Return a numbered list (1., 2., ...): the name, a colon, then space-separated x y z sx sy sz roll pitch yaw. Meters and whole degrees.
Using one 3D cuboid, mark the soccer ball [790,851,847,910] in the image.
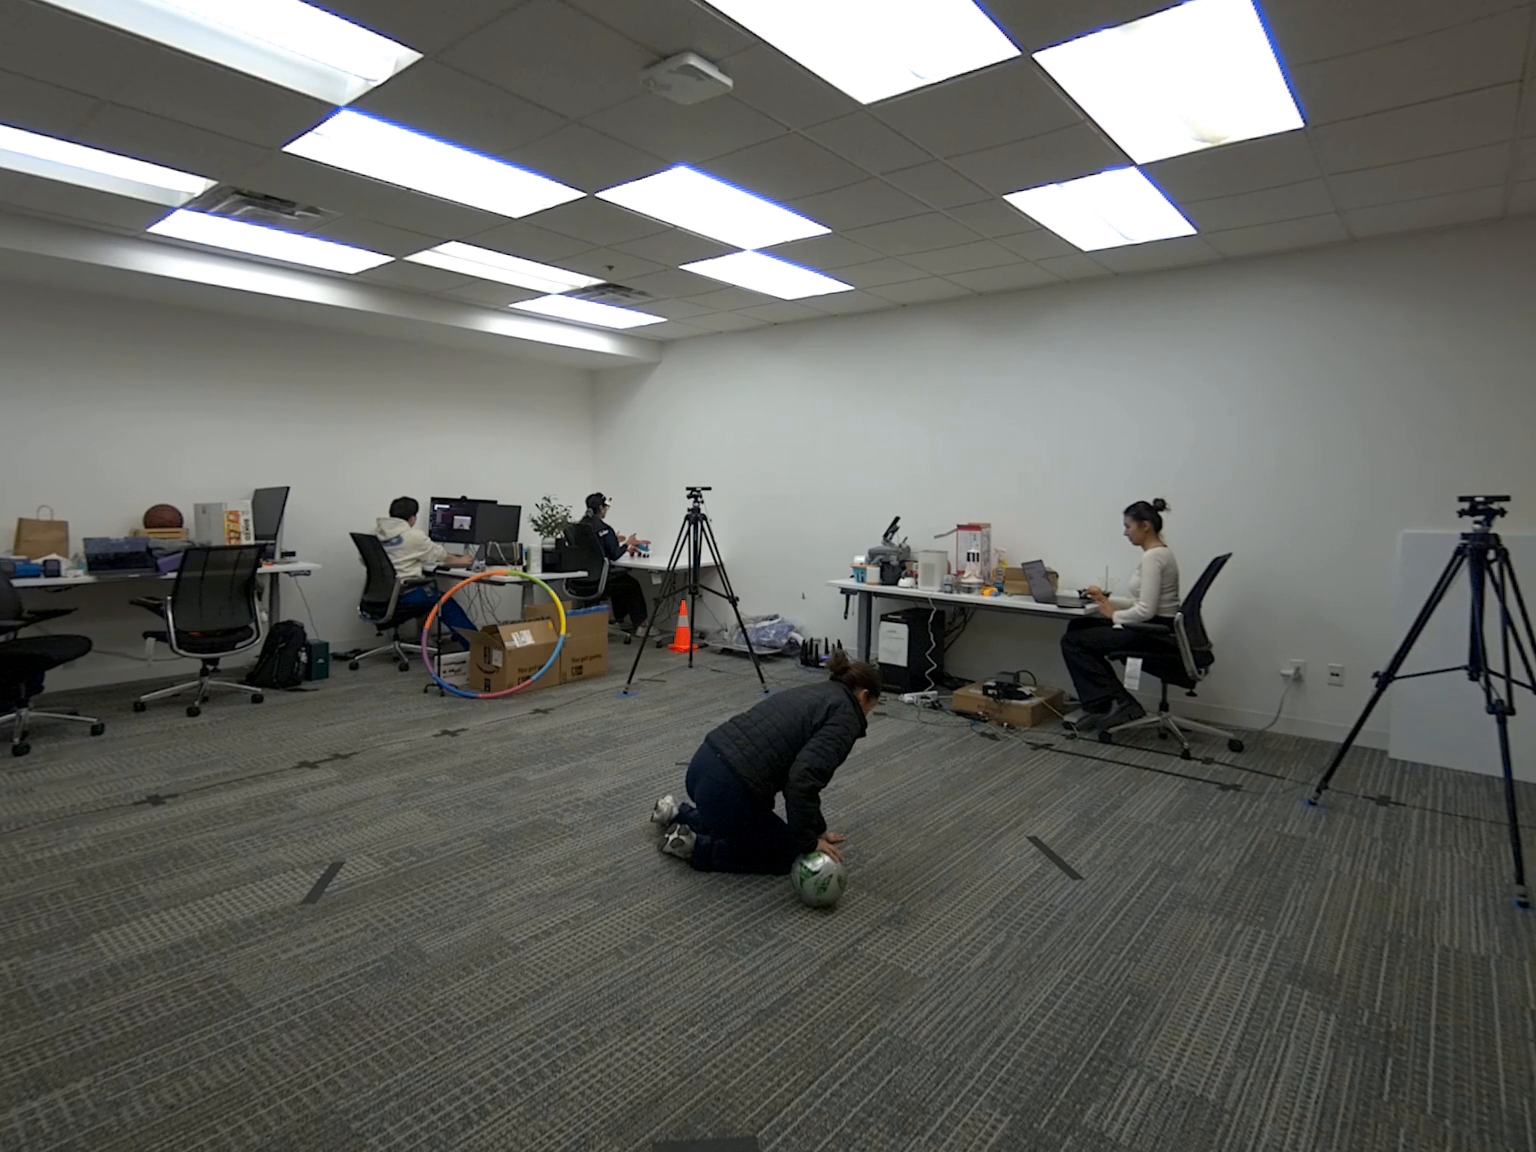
1. soccer ball: 0.163 1.007 2.859 0.187 0.187 0.188 1 4 -2
